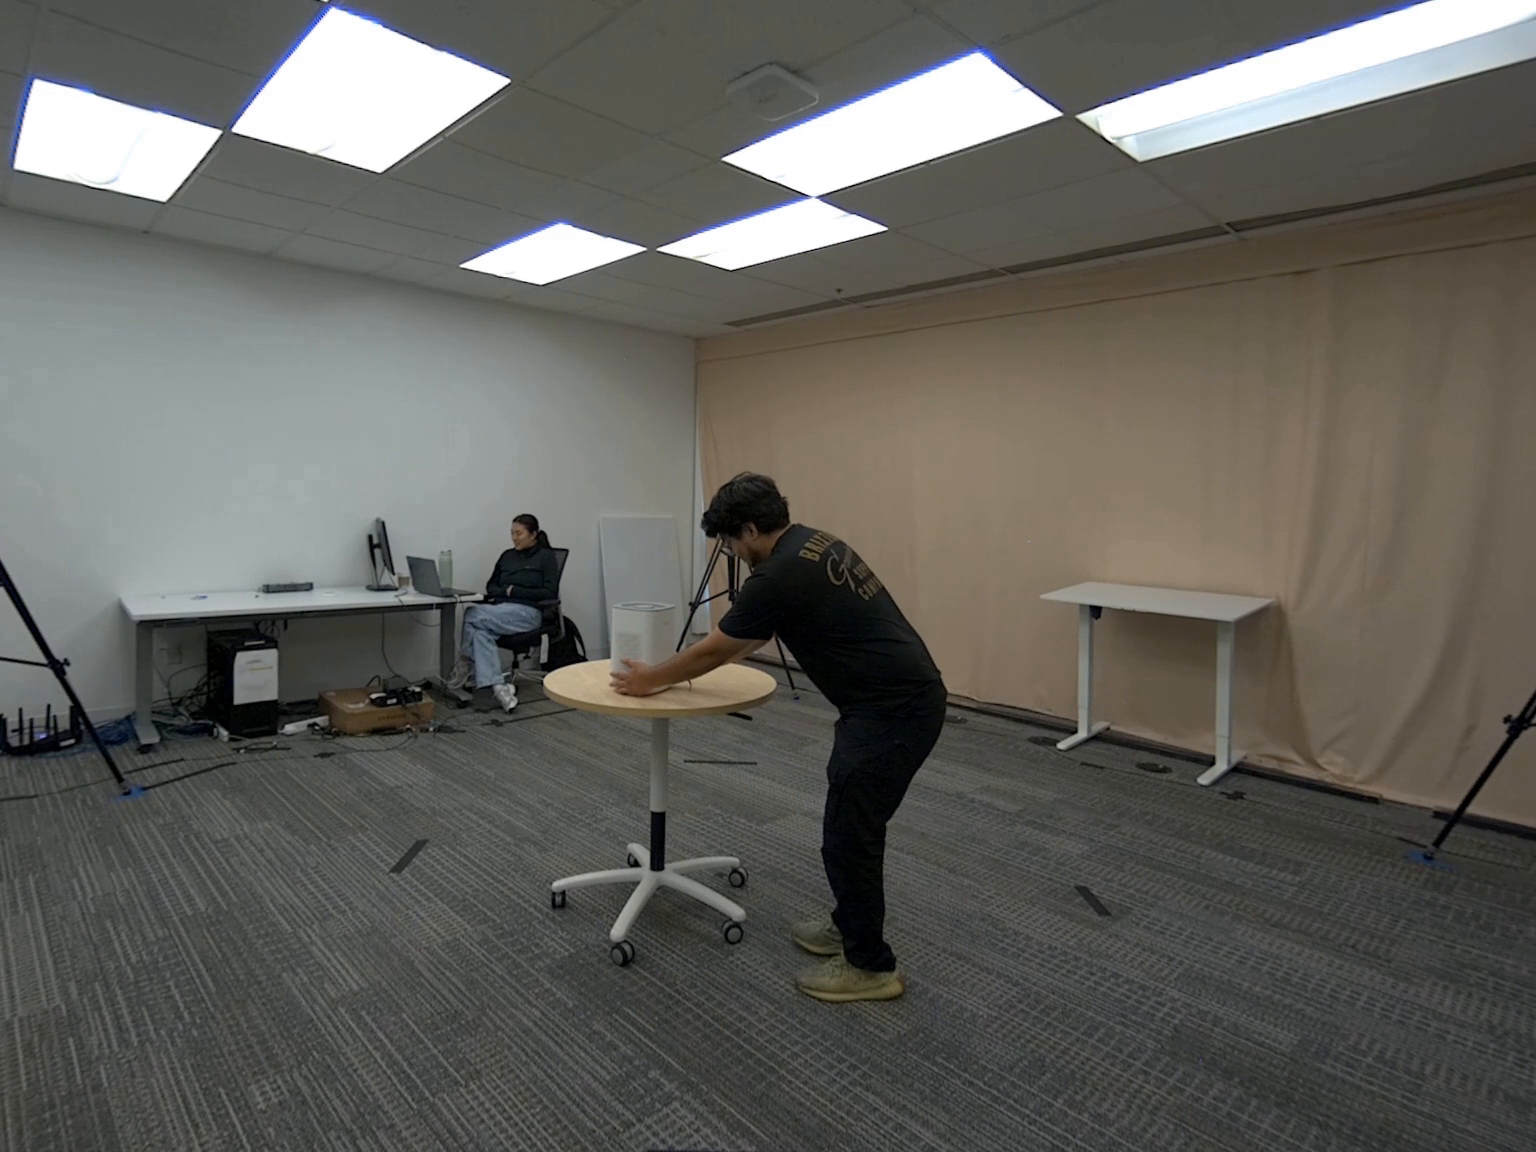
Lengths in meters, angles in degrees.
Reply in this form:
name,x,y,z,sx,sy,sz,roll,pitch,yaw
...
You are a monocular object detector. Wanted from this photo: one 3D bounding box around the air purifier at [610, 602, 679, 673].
name,x,y,z,sx,sy,sz,roll,pitch,yaw
air purifier,-0.398,0.225,2.637,0.175,0.265,0.168,2,4,26
